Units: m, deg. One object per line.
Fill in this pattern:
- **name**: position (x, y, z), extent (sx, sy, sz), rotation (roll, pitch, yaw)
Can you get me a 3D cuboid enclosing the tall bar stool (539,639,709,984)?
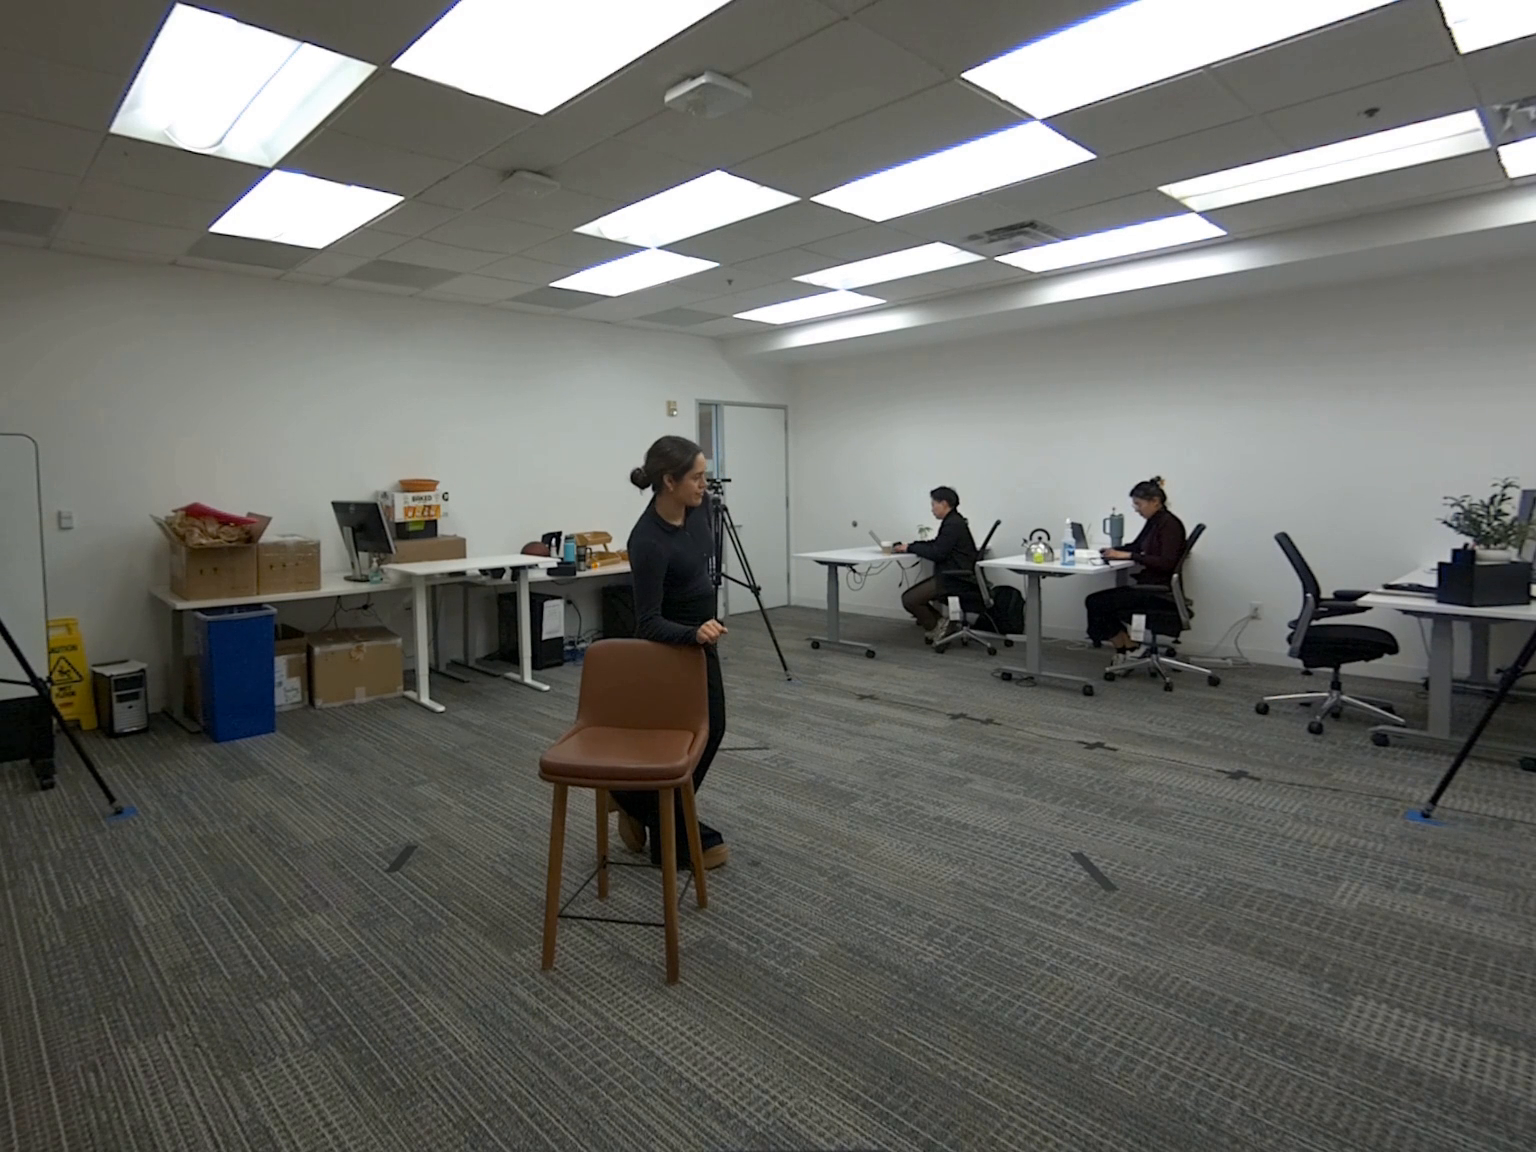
- **tall bar stool**: position (-0.423, 0.676, 2.609), extent (0.462, 0.887, 0.463), rotation (0, 3, 12)
